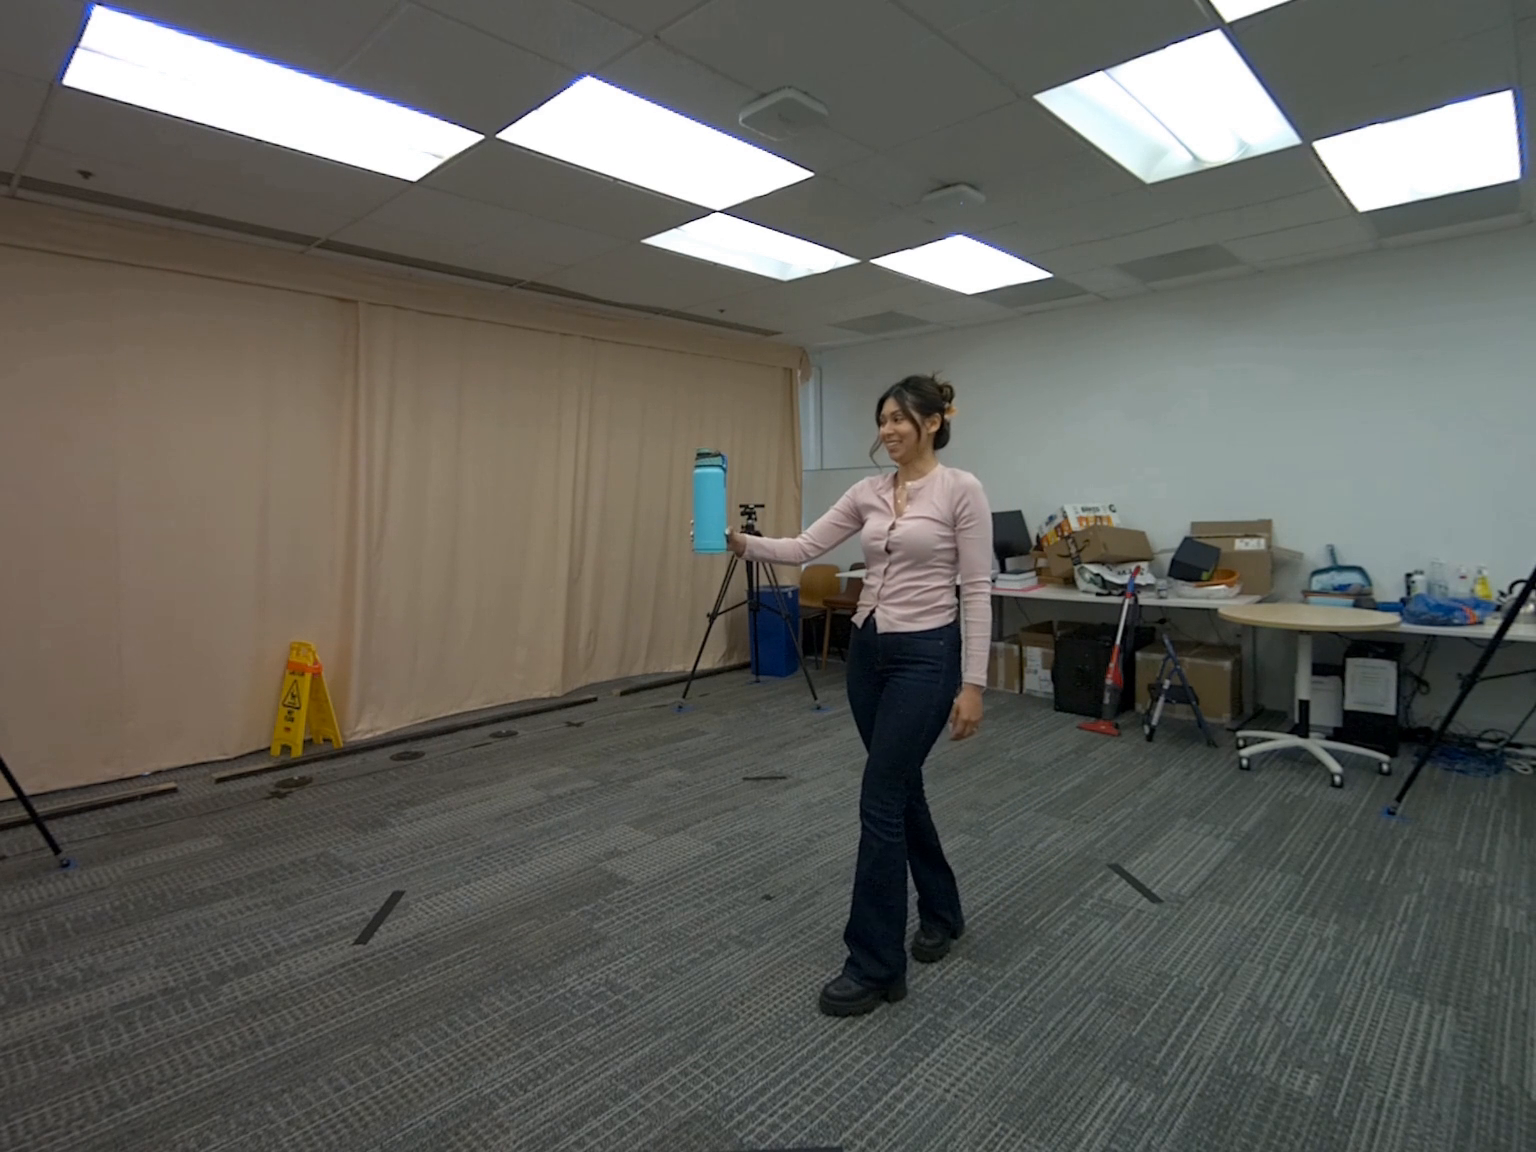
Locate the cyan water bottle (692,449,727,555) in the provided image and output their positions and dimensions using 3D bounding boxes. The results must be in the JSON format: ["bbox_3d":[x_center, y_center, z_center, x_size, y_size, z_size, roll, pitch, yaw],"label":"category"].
[{"bbox_3d":[-0.148,-0.207,2.264,0.092,0.284,0.092,0,-2,-2],"label":"cyan water bottle"}]
